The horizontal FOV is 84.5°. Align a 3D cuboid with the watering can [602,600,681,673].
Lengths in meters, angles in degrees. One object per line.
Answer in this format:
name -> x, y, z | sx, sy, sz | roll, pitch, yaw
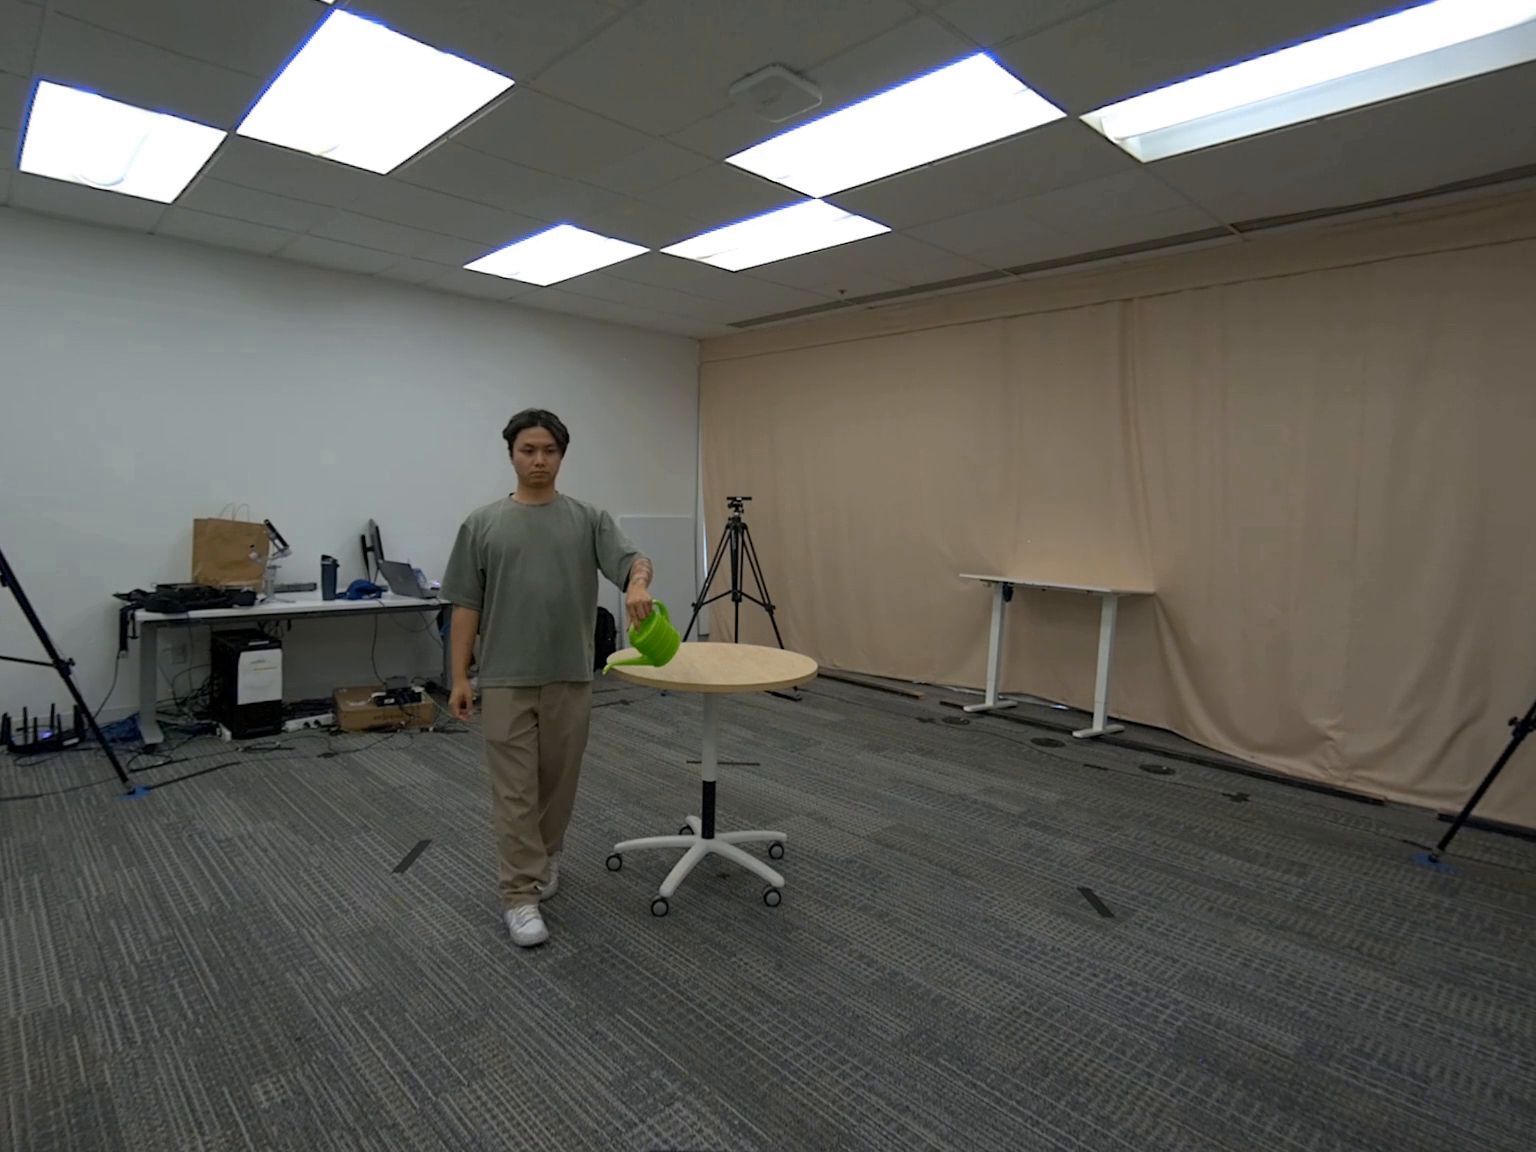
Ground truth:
watering can -> -0.384, 0.213, 2.527 | 0.101, 0.278, 0.171 | 21, -24, 45
